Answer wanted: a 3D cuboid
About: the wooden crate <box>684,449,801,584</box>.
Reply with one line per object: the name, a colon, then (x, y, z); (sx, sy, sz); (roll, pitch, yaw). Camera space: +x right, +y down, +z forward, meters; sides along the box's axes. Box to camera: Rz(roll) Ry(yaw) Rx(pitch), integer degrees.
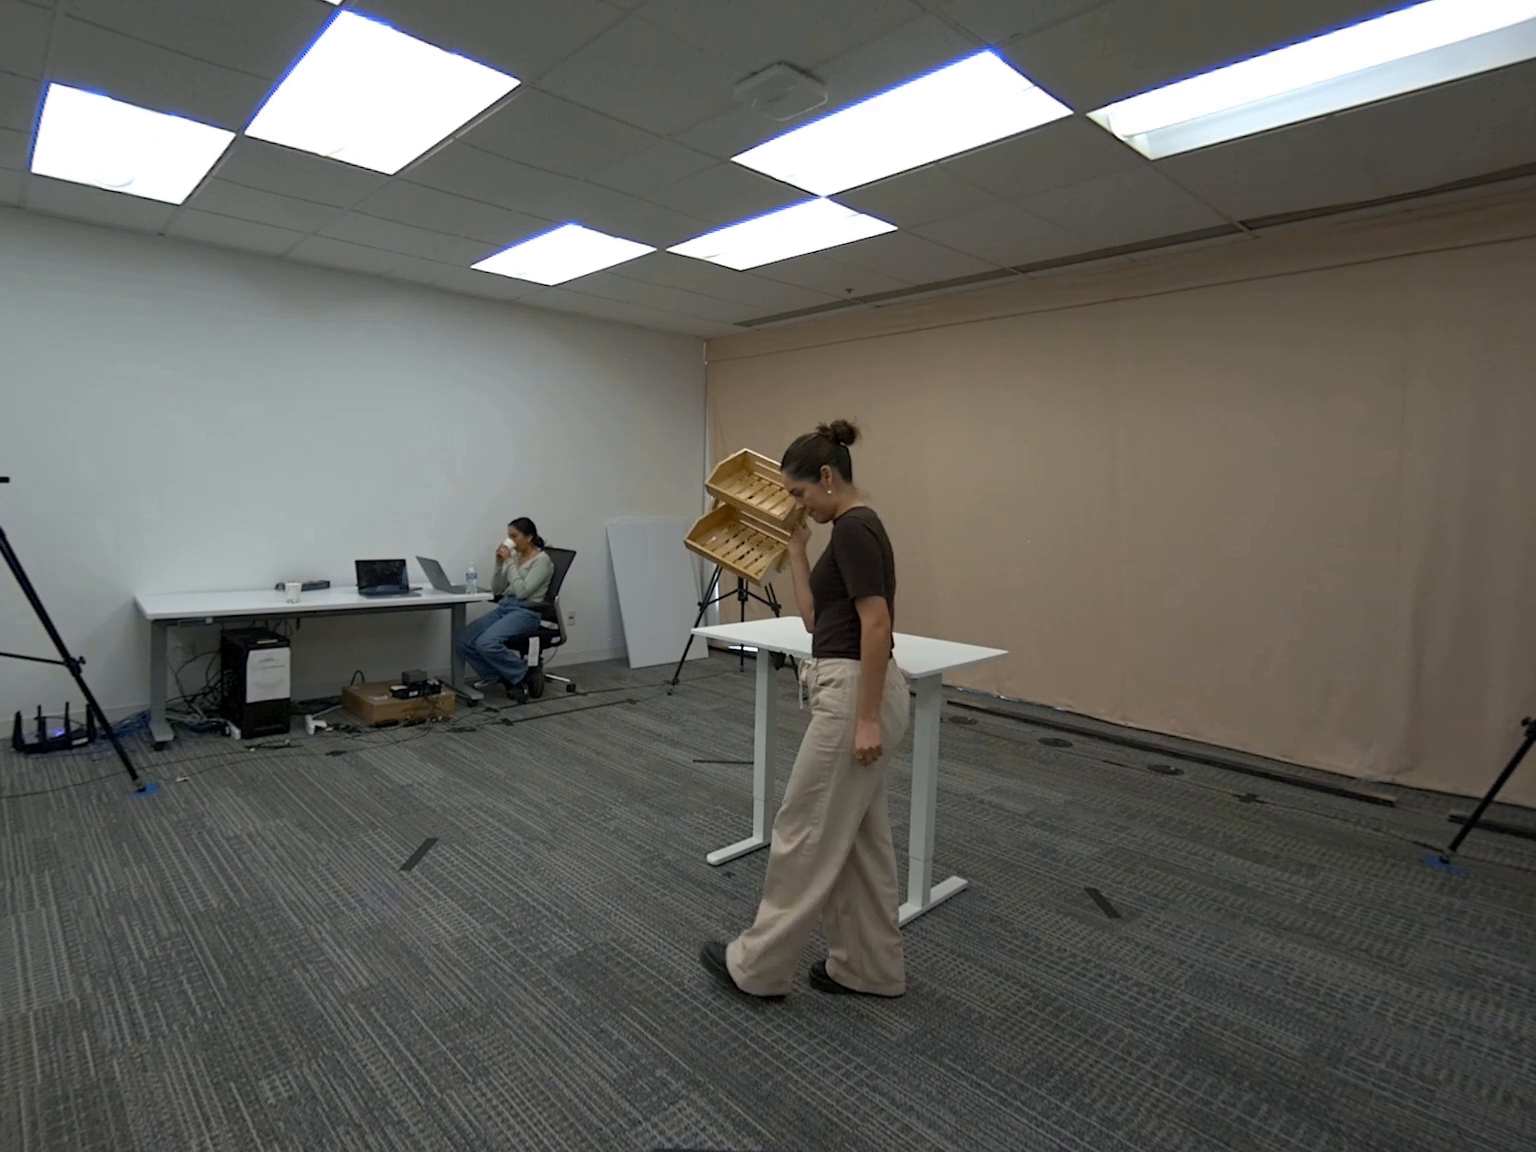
wooden crate: (-0.058, -0.186, 2.652); (0.333, 0.268, 0.300); (27, 41, 26)
